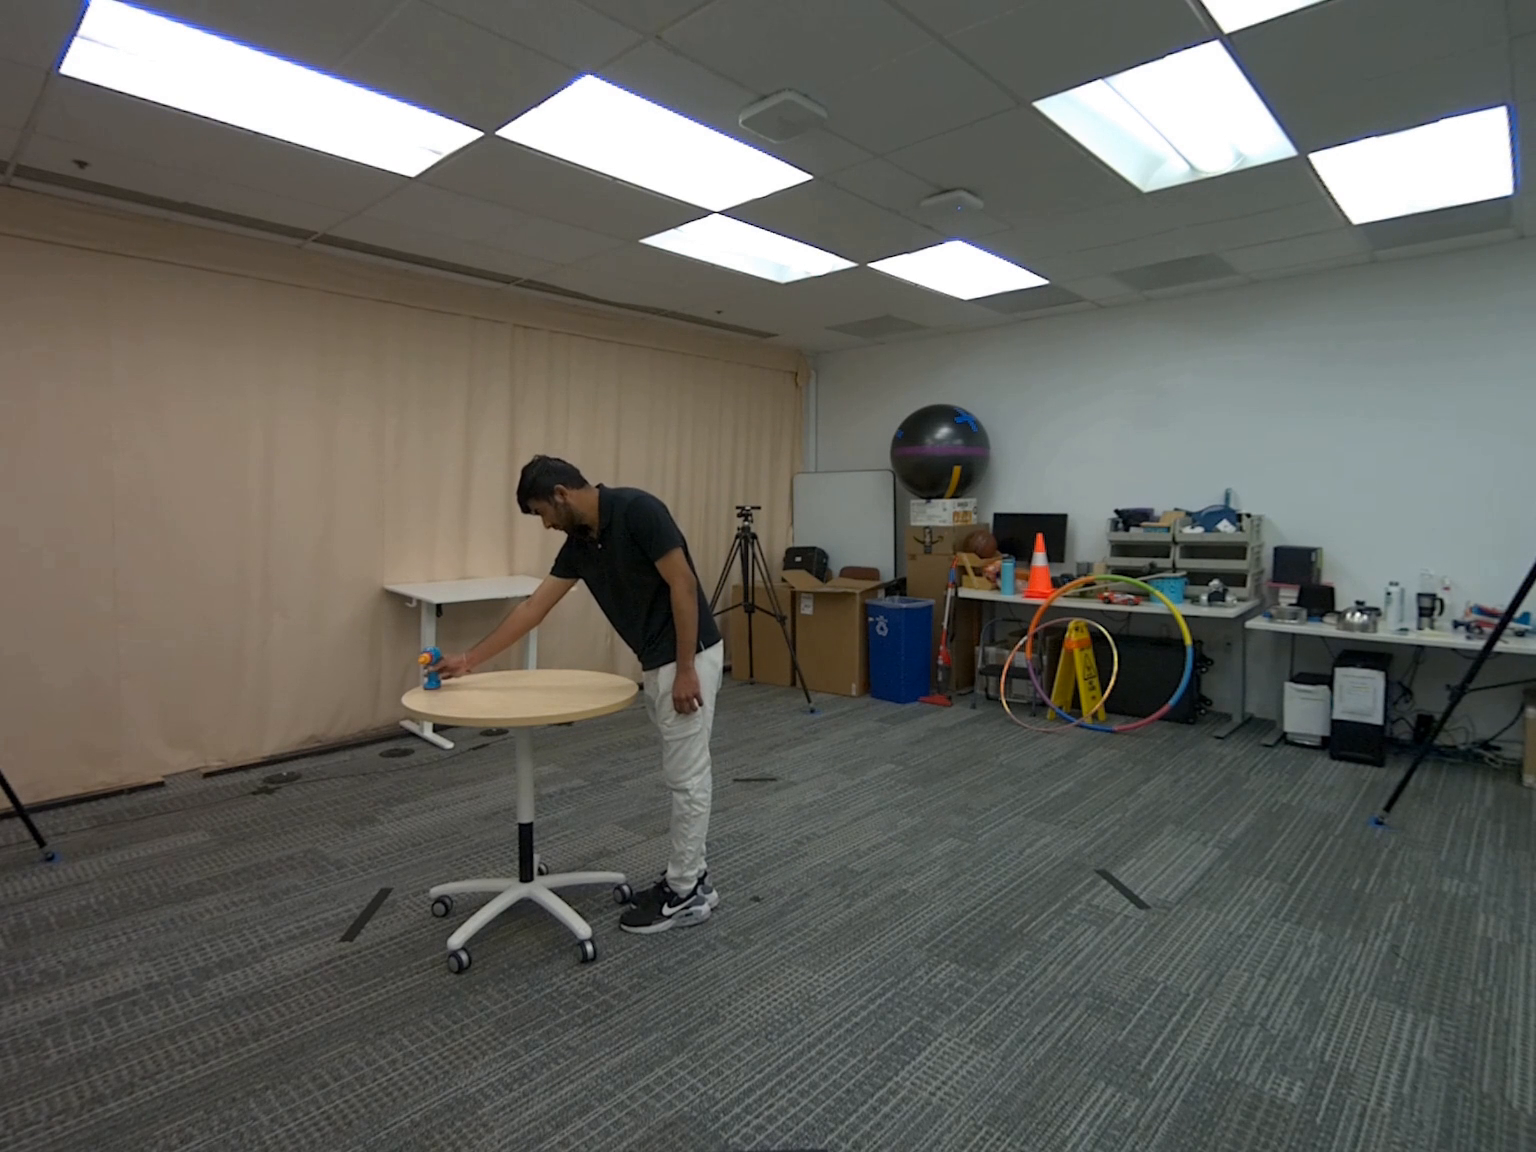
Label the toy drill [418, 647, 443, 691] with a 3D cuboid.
[{"bbox_3d":[-1.137,0.314,2.804,0.061,0.146,0.171,0,4,-5],"label":"toy drill"}]
